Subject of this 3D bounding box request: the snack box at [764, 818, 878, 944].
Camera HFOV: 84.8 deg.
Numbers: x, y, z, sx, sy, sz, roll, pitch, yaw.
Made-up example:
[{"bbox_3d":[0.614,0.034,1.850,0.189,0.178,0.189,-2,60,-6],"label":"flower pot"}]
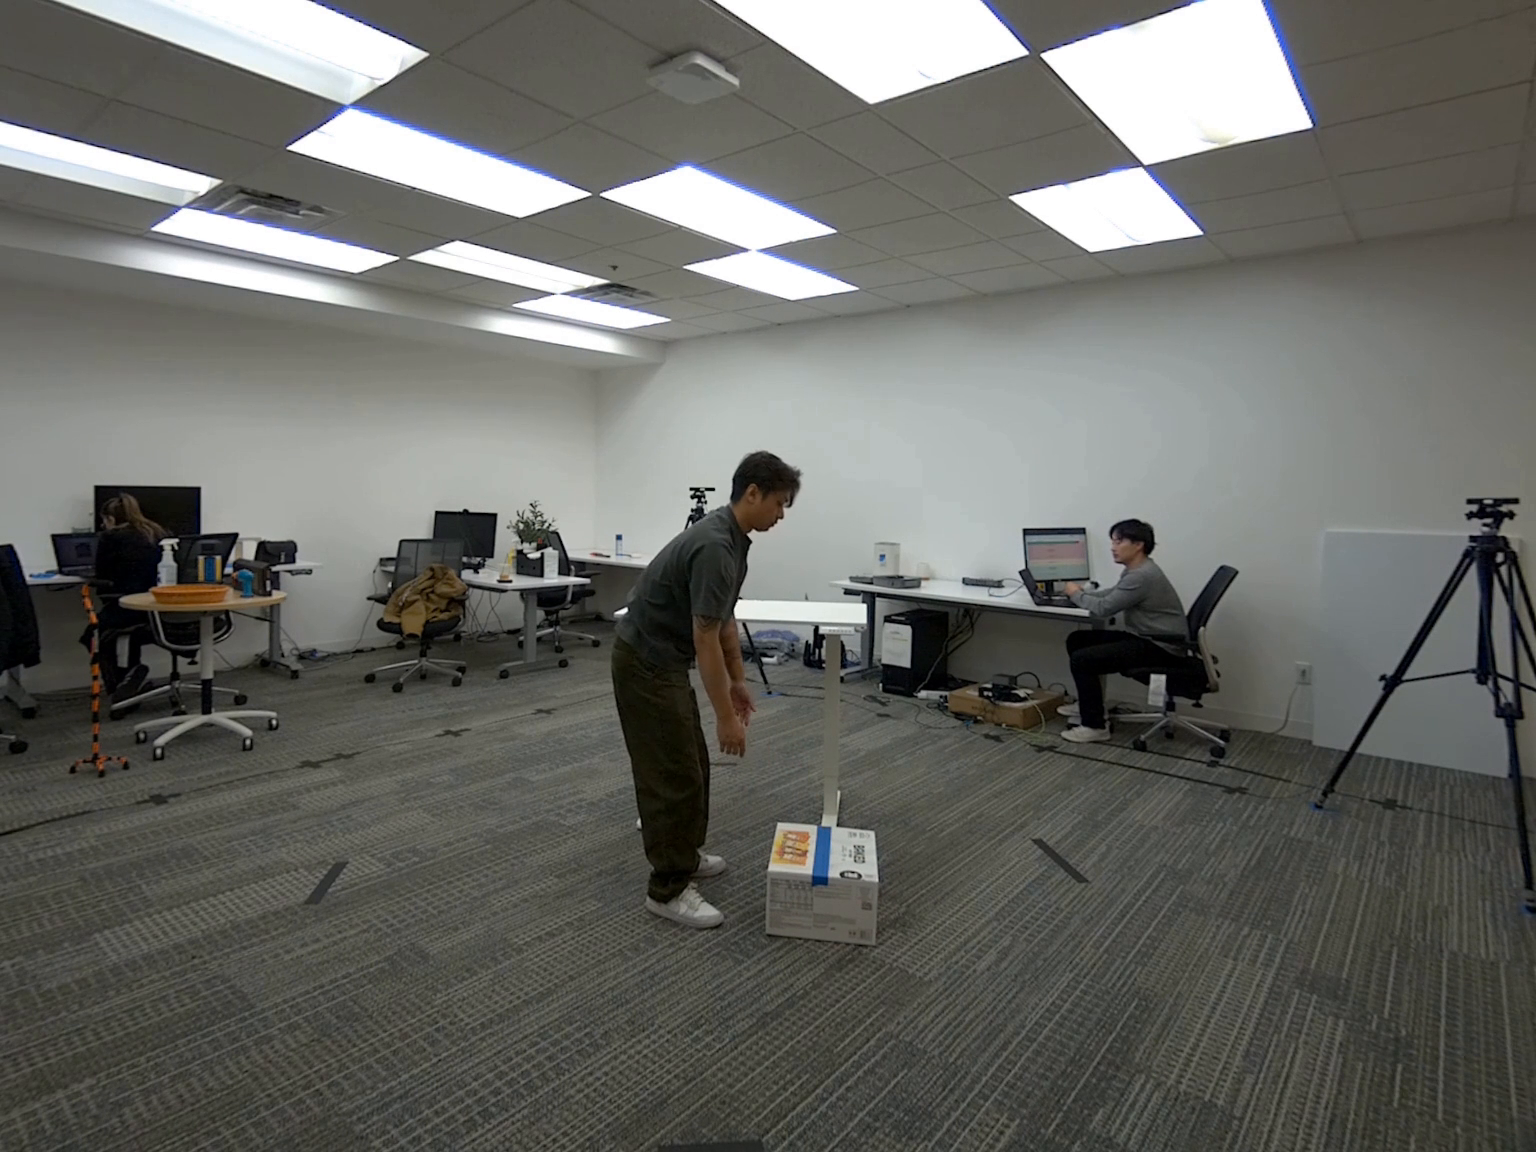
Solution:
[{"bbox_3d":[0.176,0.998,2.801,0.343,0.205,0.403,2,5,6],"label":"snack box"}]
